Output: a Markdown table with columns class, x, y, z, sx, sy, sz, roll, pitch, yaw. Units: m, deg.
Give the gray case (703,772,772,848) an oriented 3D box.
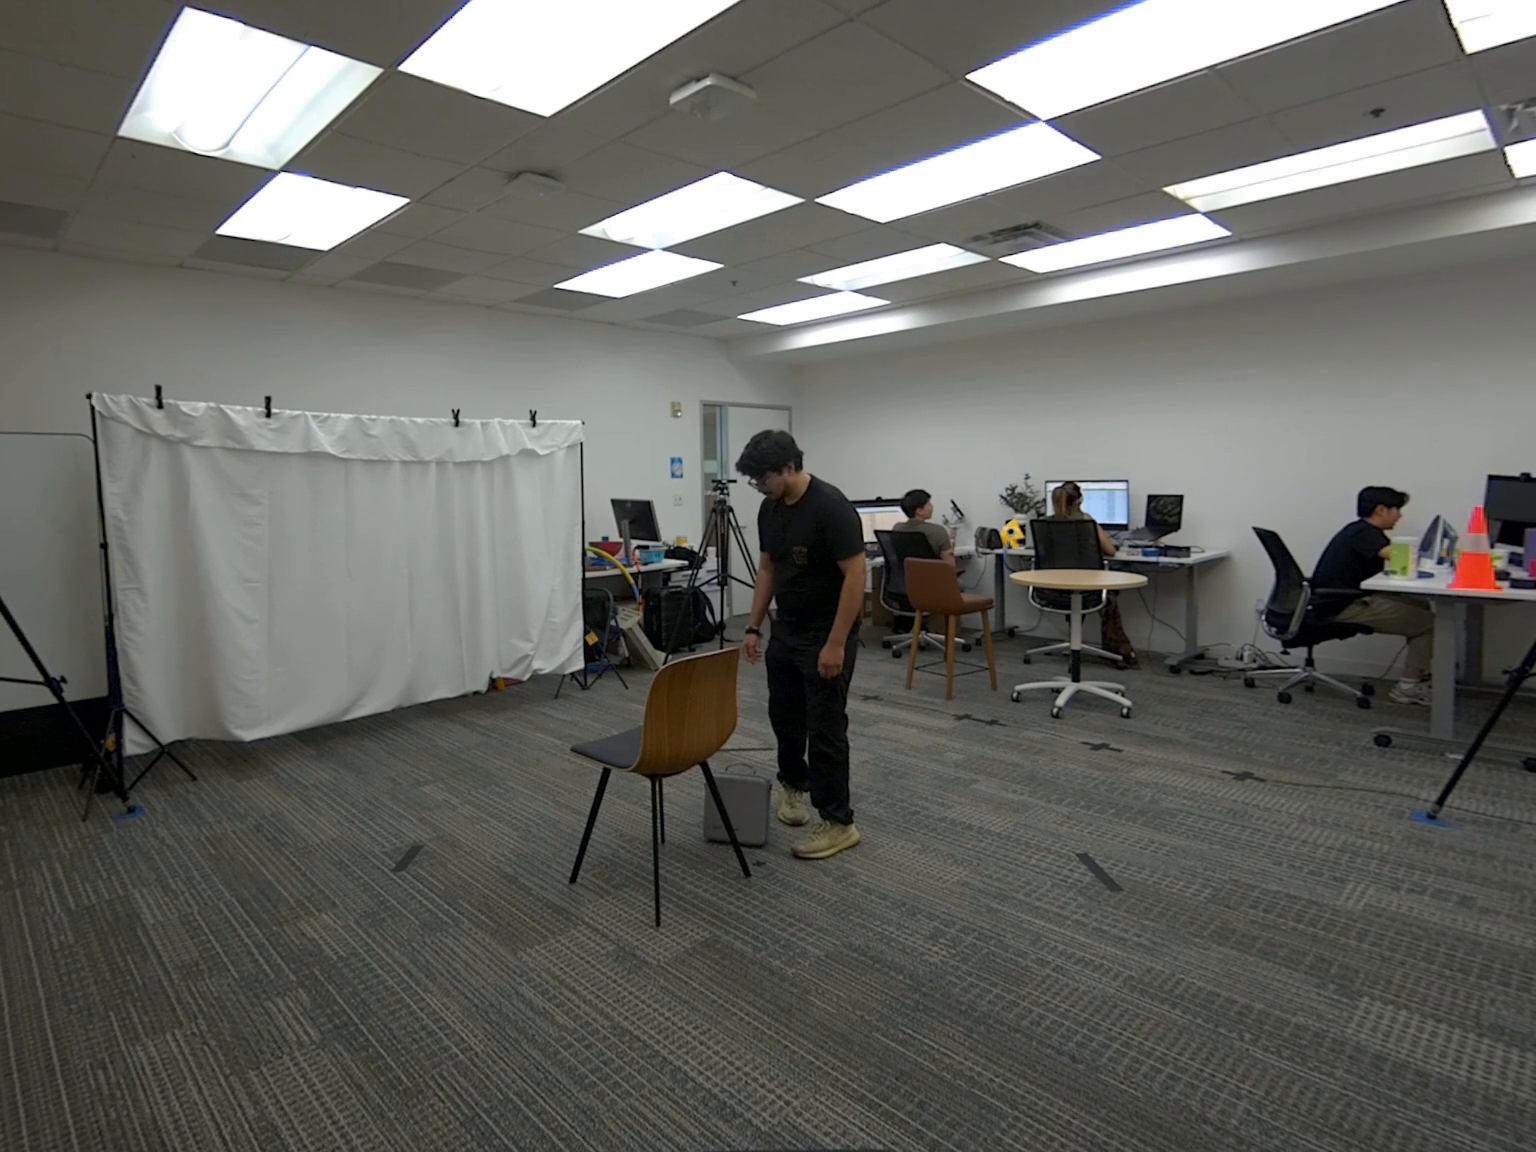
| class | x | y | z | sx | sy | sz | roll | pitch | yaw |
| --- | --- | --- | --- | --- | --- | --- | --- | --- | --- |
| gray case | -0.117 | 0.896 | 3.319 | 0.261 | 0.262 | 0.102 | 1 | -8 | 17 |
